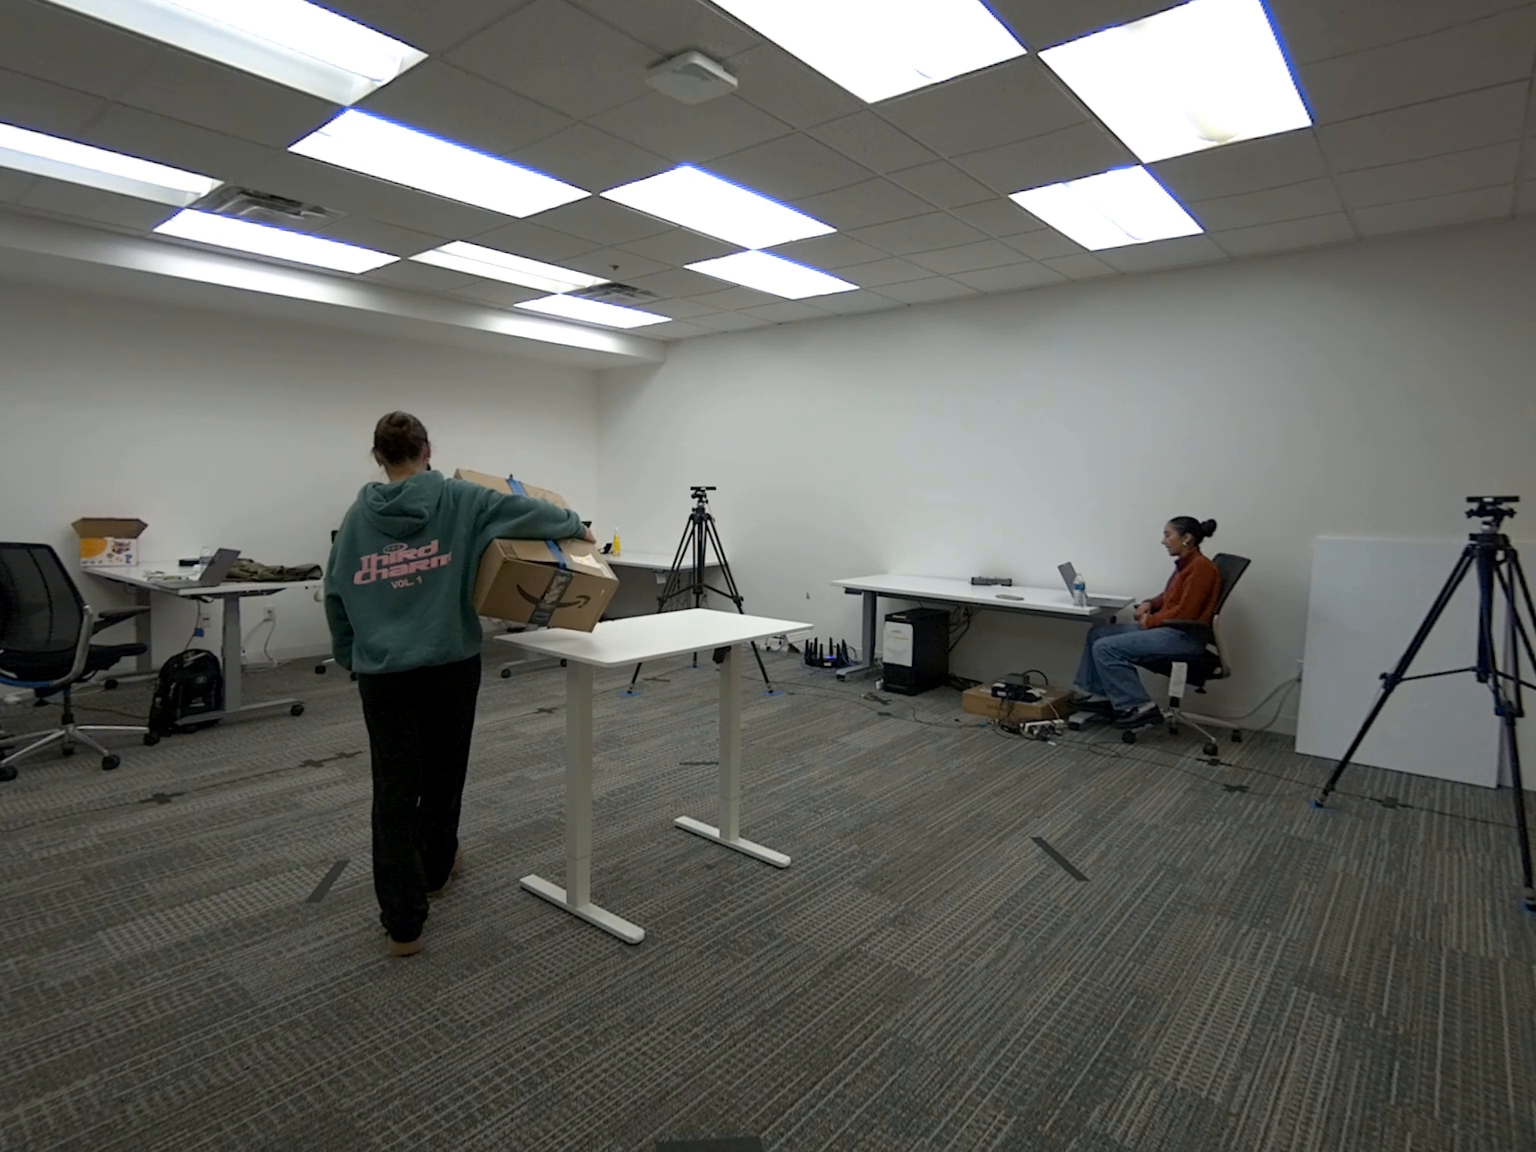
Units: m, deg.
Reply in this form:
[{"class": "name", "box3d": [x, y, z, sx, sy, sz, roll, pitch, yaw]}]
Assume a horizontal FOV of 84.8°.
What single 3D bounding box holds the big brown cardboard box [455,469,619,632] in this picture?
[{"class": "big brown cardboard box", "box3d": [-0.827, -0.091, 2.850, 0.402, 0.232, 0.614, 13, 24, -42]}]
